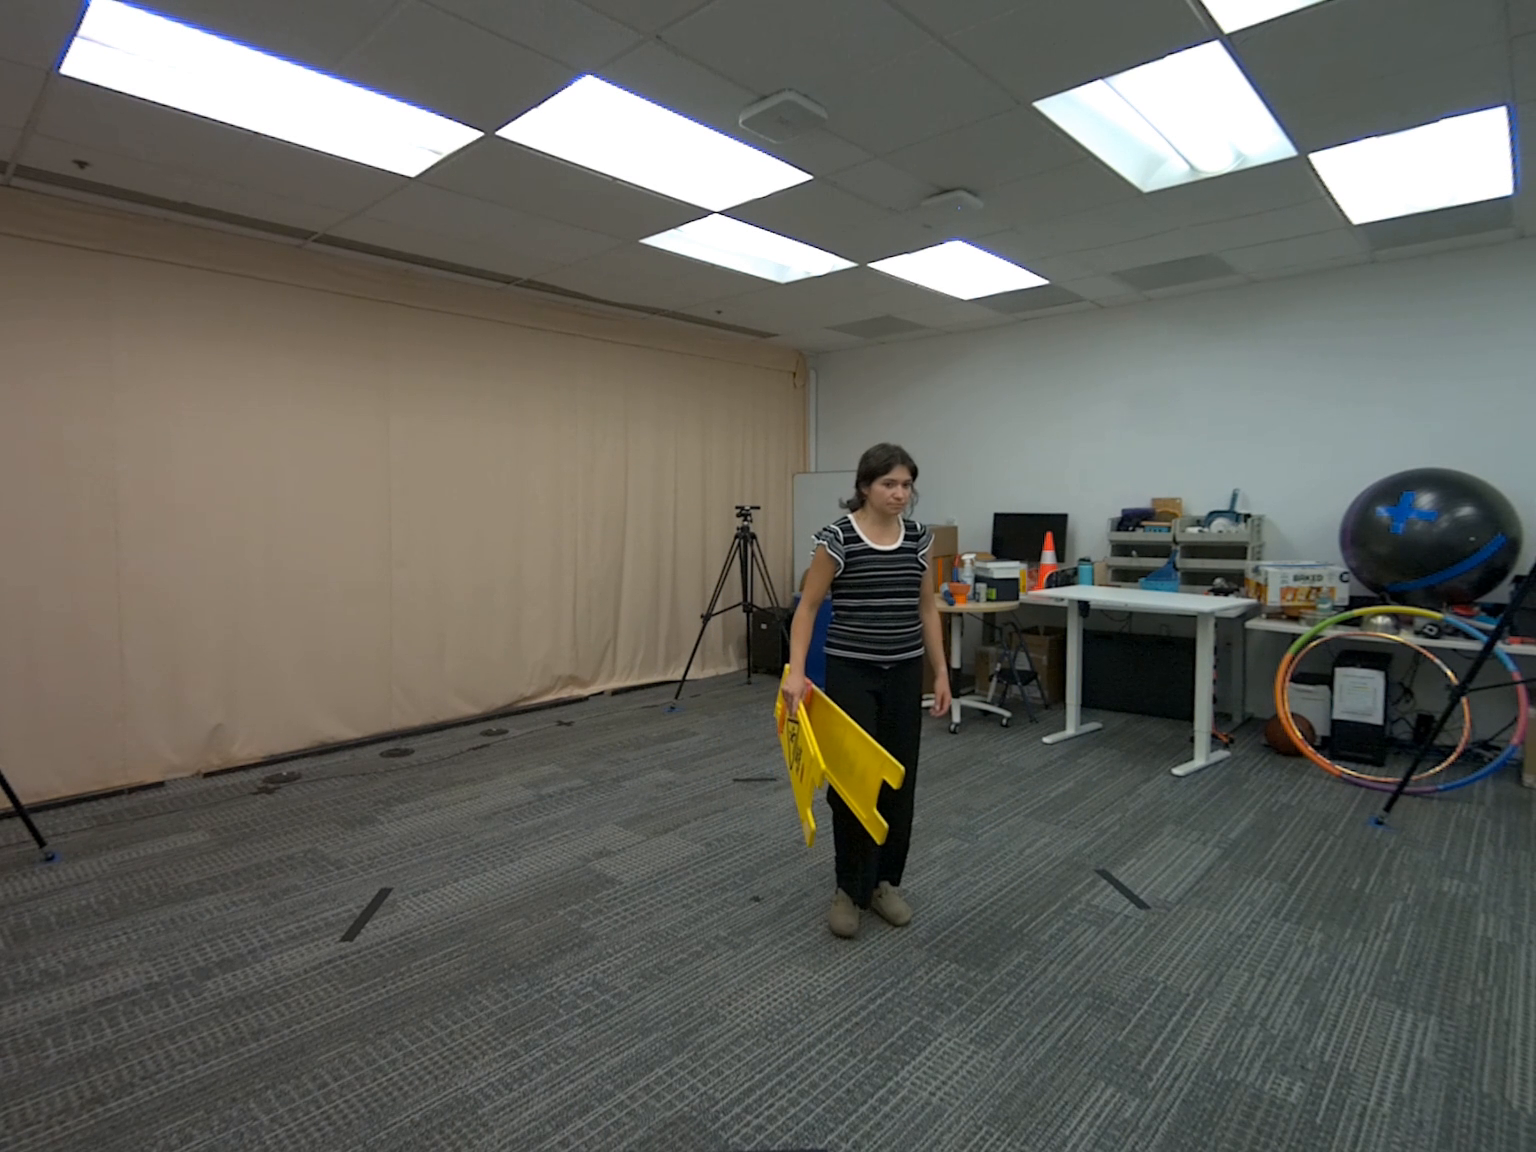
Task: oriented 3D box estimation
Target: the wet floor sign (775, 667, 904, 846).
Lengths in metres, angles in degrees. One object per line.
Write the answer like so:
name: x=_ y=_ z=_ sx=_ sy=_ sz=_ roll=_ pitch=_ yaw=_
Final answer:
wet floor sign: x=0.136 y=0.524 z=2.694 sx=0.284 sy=0.280 sz=0.664 roll=3 pitch=23 yaw=-20
